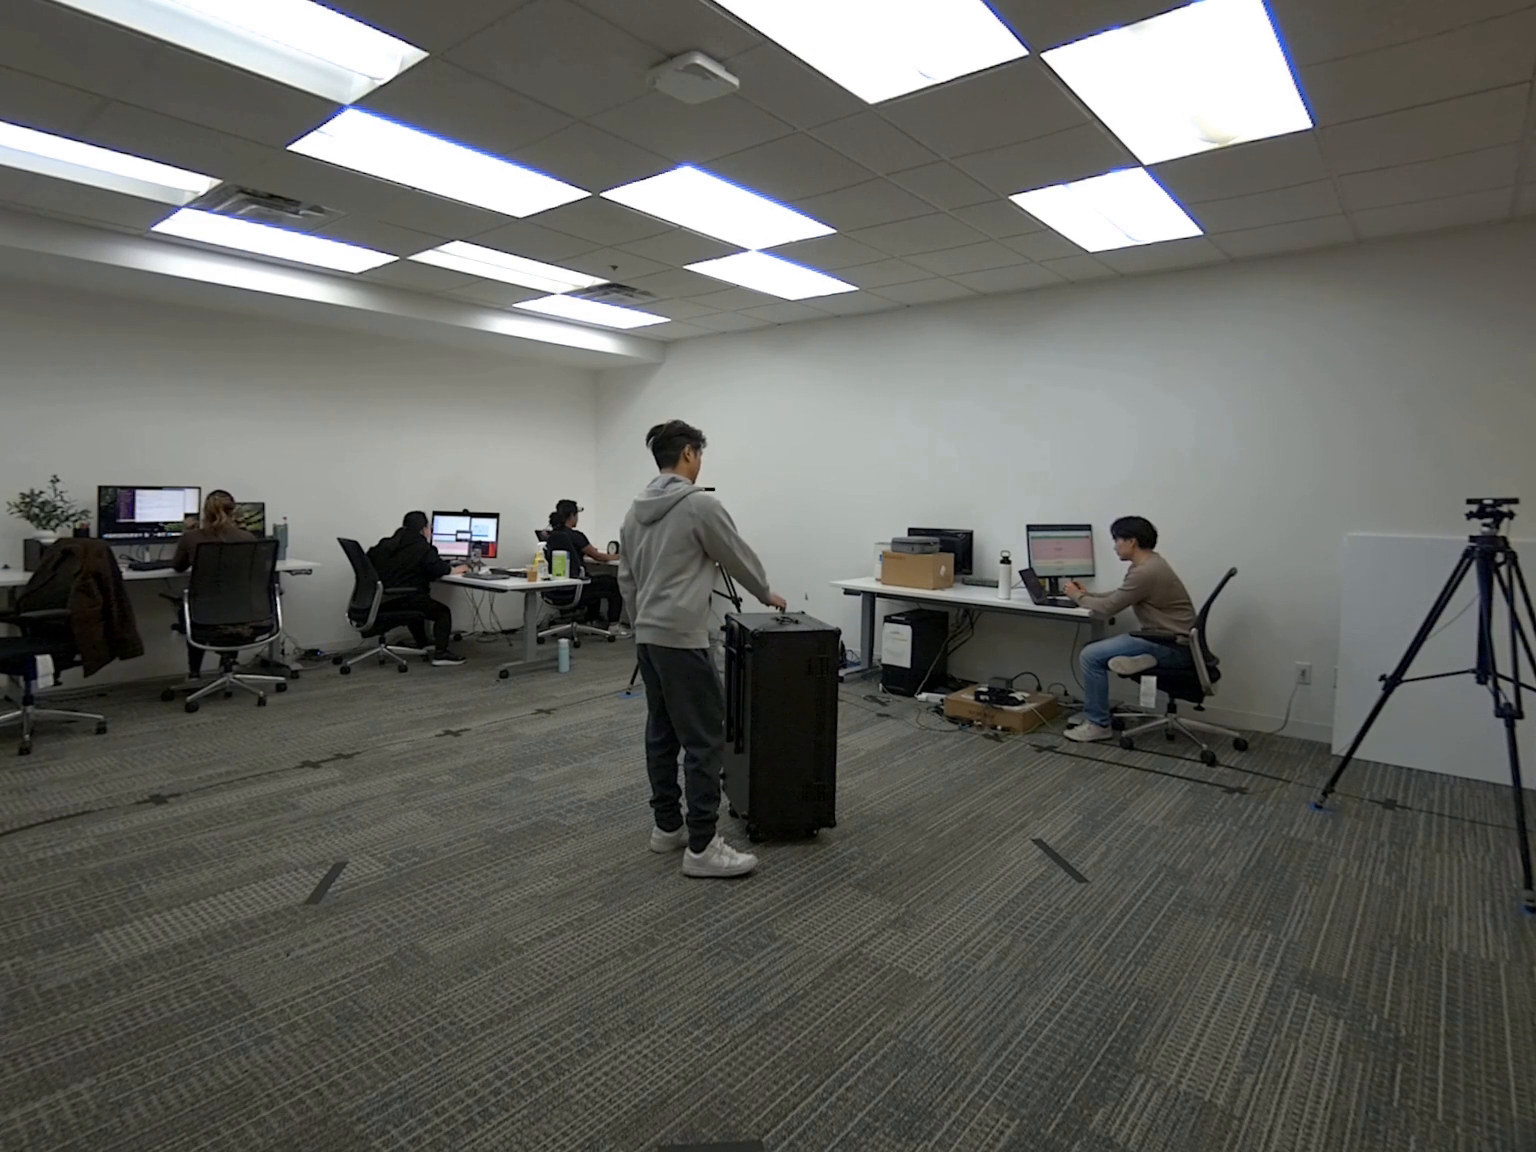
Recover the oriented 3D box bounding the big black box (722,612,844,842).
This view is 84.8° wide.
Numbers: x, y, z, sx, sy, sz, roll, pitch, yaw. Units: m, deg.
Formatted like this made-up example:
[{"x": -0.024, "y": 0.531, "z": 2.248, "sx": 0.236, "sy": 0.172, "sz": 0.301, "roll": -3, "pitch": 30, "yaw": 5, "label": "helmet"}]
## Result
[{"x": 0.028, "y": 0.606, "z": 3.519, "sx": 0.391, "sy": 0.858, "sz": 0.531, "roll": 0, "pitch": 4, "yaw": -14, "label": "big black box"}]
